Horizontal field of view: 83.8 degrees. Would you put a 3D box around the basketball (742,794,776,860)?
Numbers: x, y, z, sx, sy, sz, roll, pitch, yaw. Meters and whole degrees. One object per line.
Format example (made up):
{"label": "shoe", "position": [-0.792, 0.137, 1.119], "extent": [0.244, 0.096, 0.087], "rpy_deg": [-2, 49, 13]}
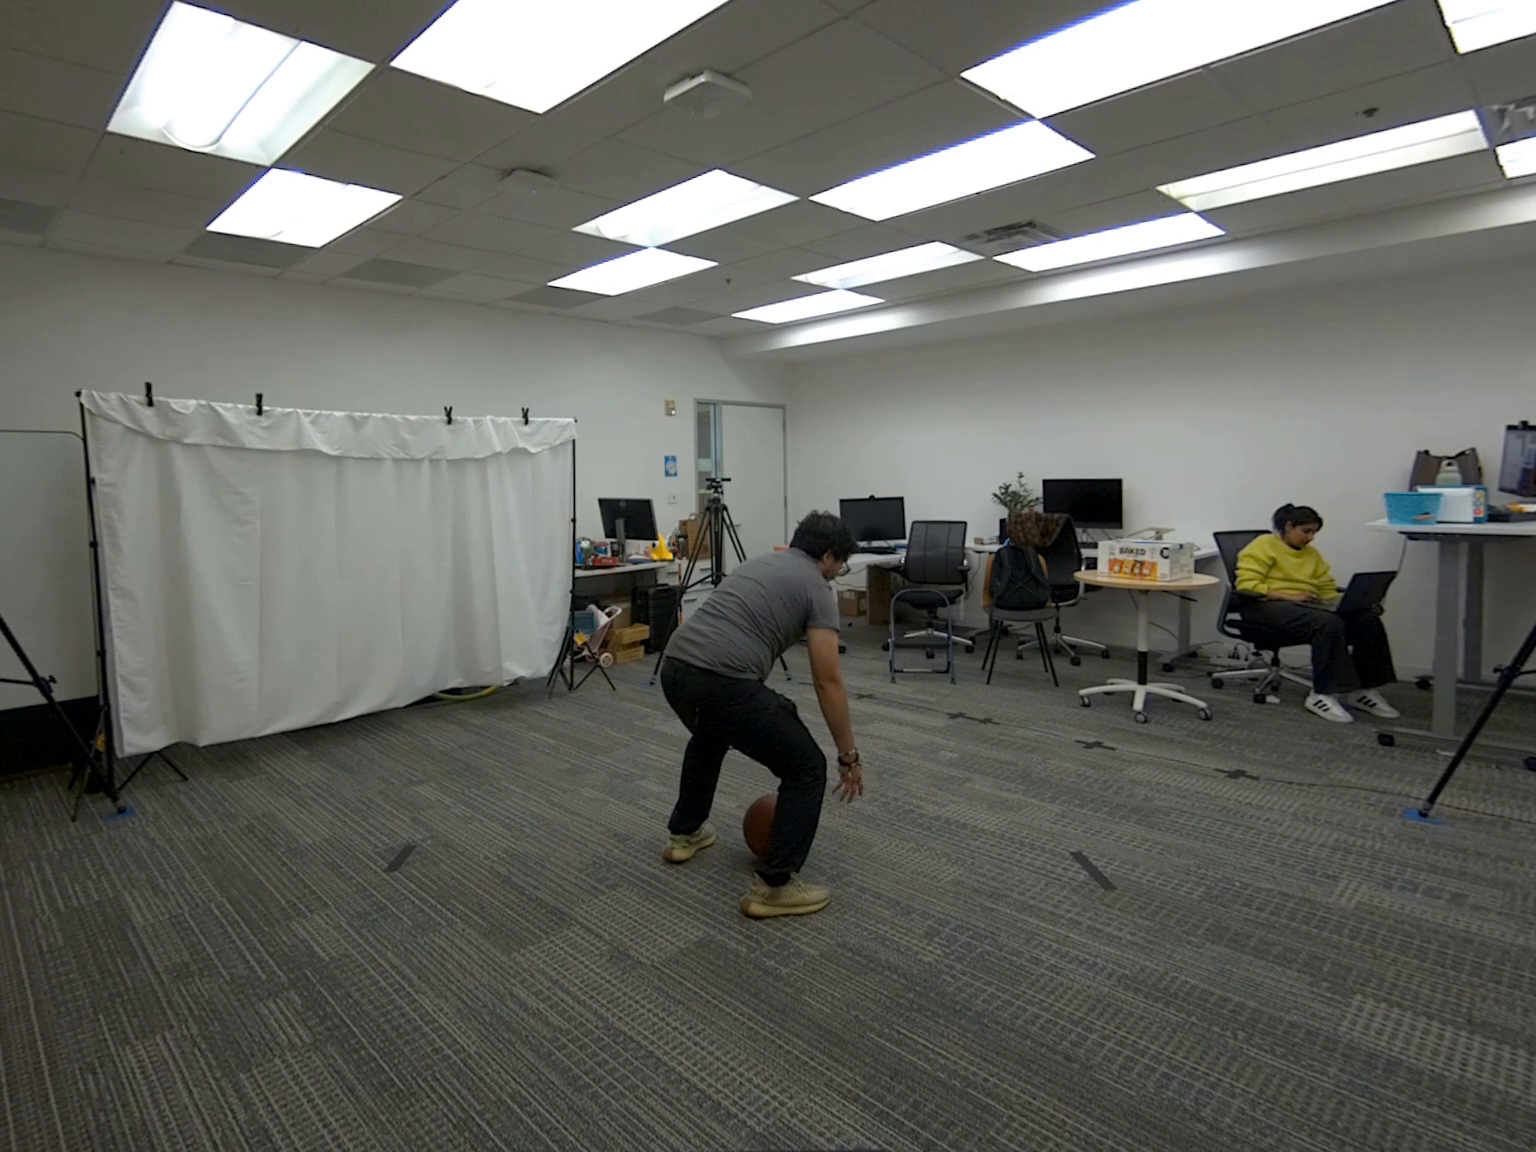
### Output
{"label": "basketball", "position": [0.034, 0.917, 3.118], "extent": [0.236, 0.235, 0.237], "rpy_deg": [-1, 5, -2]}
